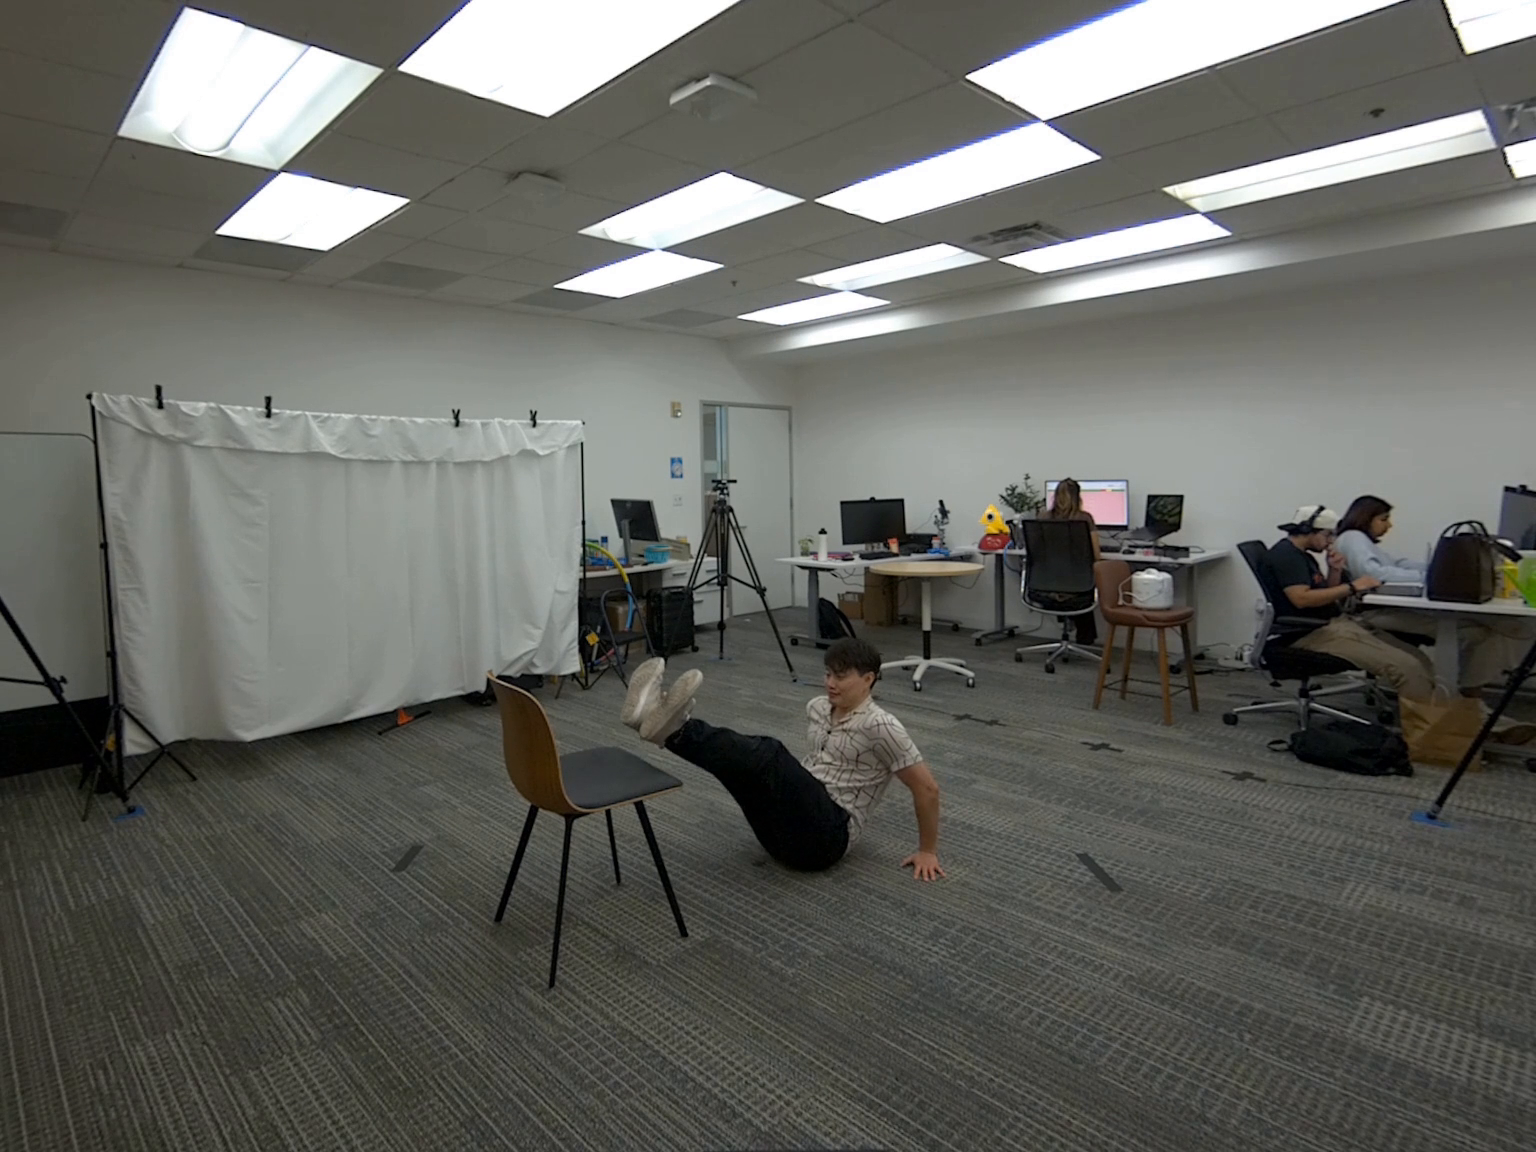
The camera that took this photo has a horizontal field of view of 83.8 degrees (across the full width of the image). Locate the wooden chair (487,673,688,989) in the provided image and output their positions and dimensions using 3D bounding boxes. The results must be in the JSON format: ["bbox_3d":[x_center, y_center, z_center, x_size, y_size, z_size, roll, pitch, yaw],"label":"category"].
[{"bbox_3d":[-0.561,0.683,2.651,0.511,0.872,0.492,-9,8,-35],"label":"wooden chair"}]
